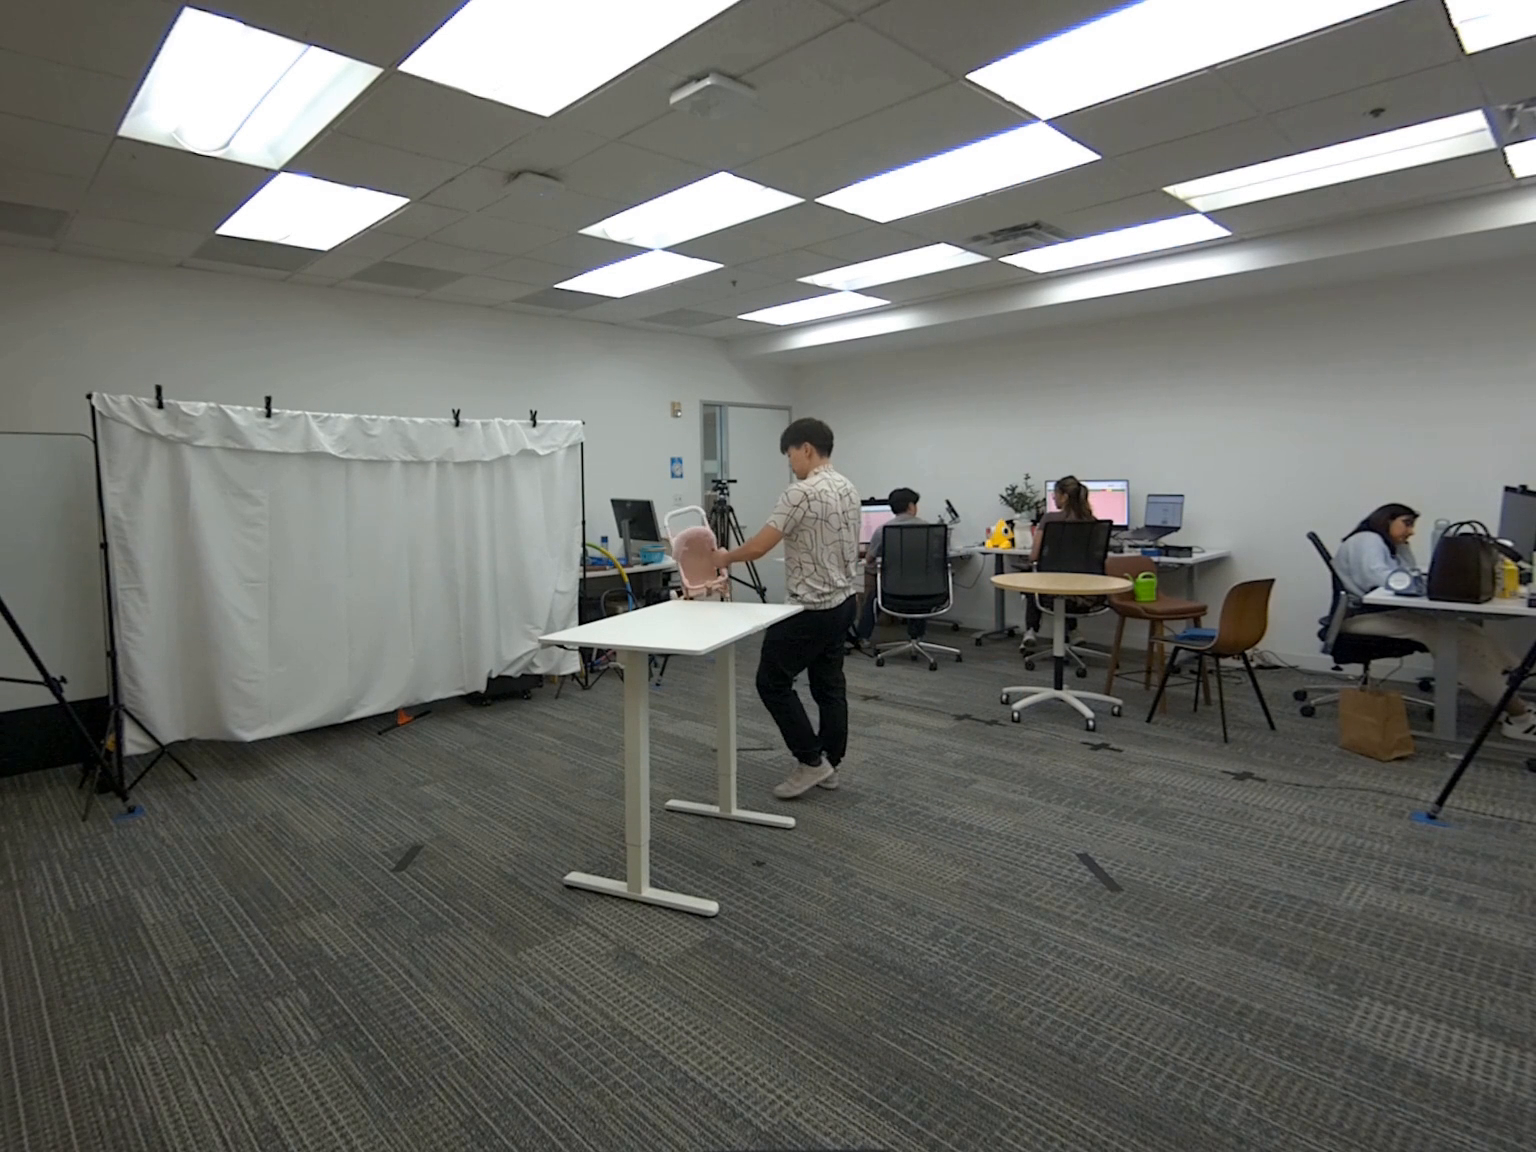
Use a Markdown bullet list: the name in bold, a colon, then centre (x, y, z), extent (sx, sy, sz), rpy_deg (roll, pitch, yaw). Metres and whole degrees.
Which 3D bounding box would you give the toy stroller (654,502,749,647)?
- **toy stroller**: centre (-0.314, -0.018, 3.977), extent (0.279, 0.524, 0.351), rpy_deg (-14, 21, -13)
